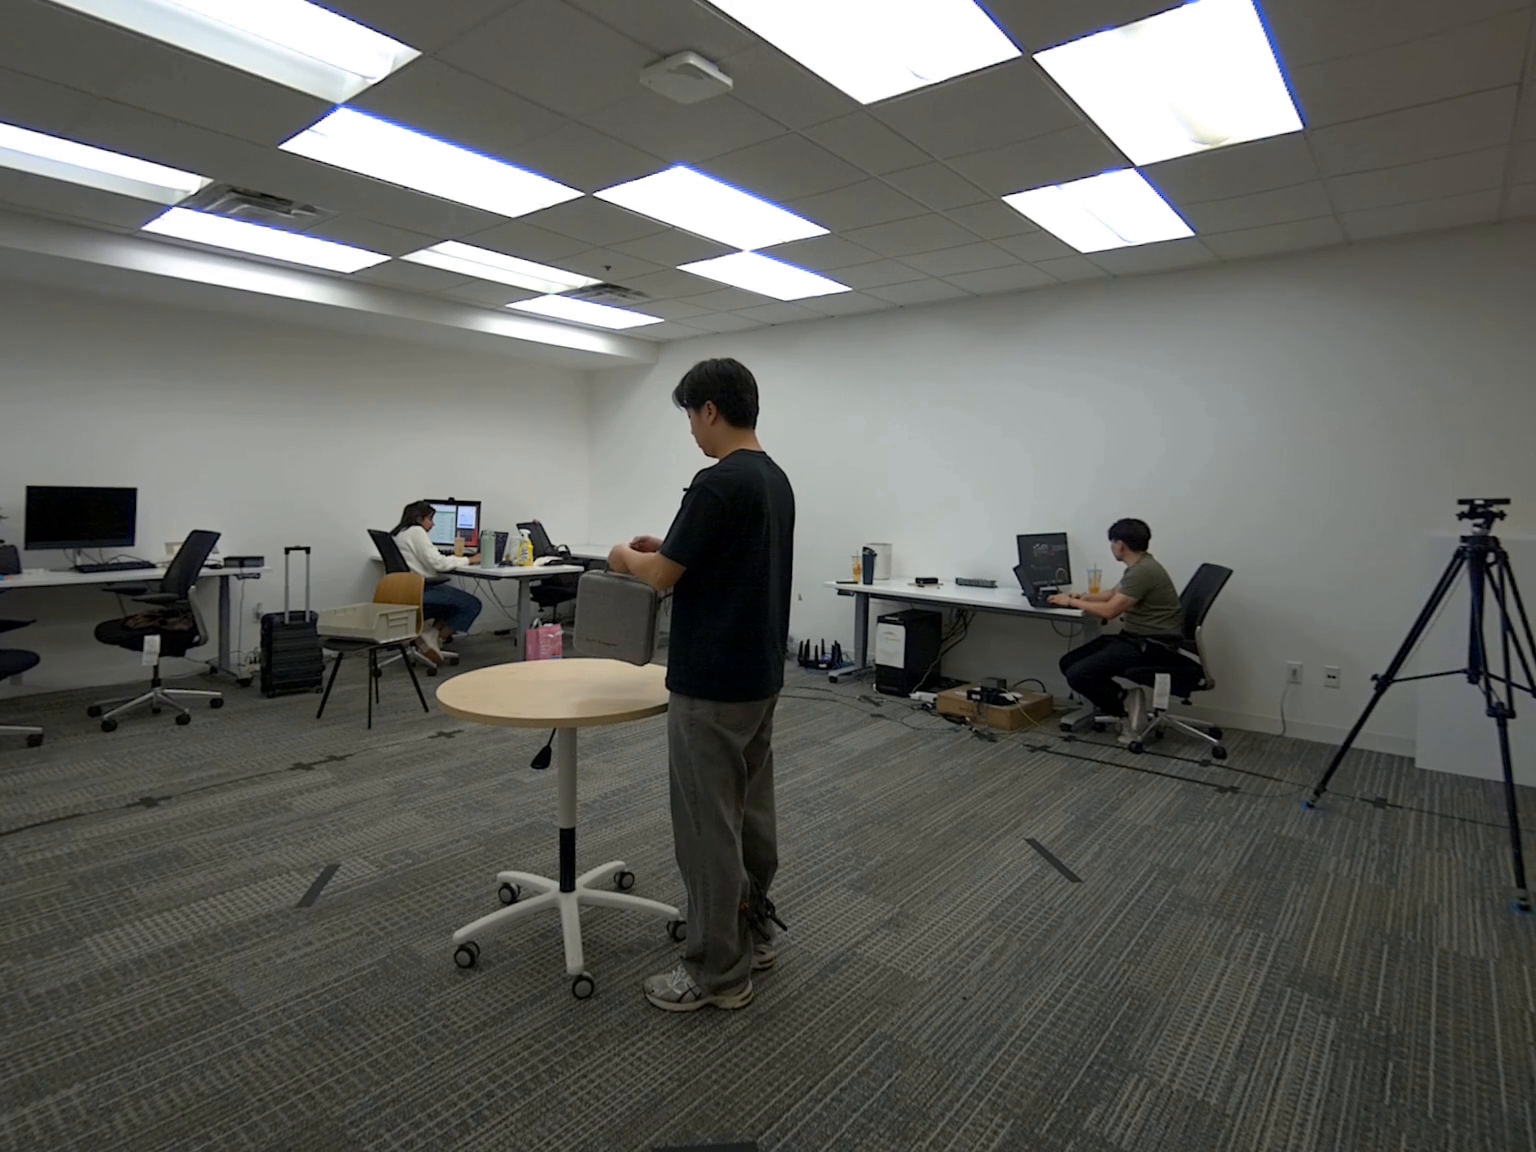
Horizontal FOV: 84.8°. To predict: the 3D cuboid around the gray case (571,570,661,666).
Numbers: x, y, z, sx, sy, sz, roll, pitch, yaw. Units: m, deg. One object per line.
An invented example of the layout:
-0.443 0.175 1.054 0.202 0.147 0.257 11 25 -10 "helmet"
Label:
-0.463 0.109 2.580 0.267 0.285 0.102 9 9 13 "gray case"
